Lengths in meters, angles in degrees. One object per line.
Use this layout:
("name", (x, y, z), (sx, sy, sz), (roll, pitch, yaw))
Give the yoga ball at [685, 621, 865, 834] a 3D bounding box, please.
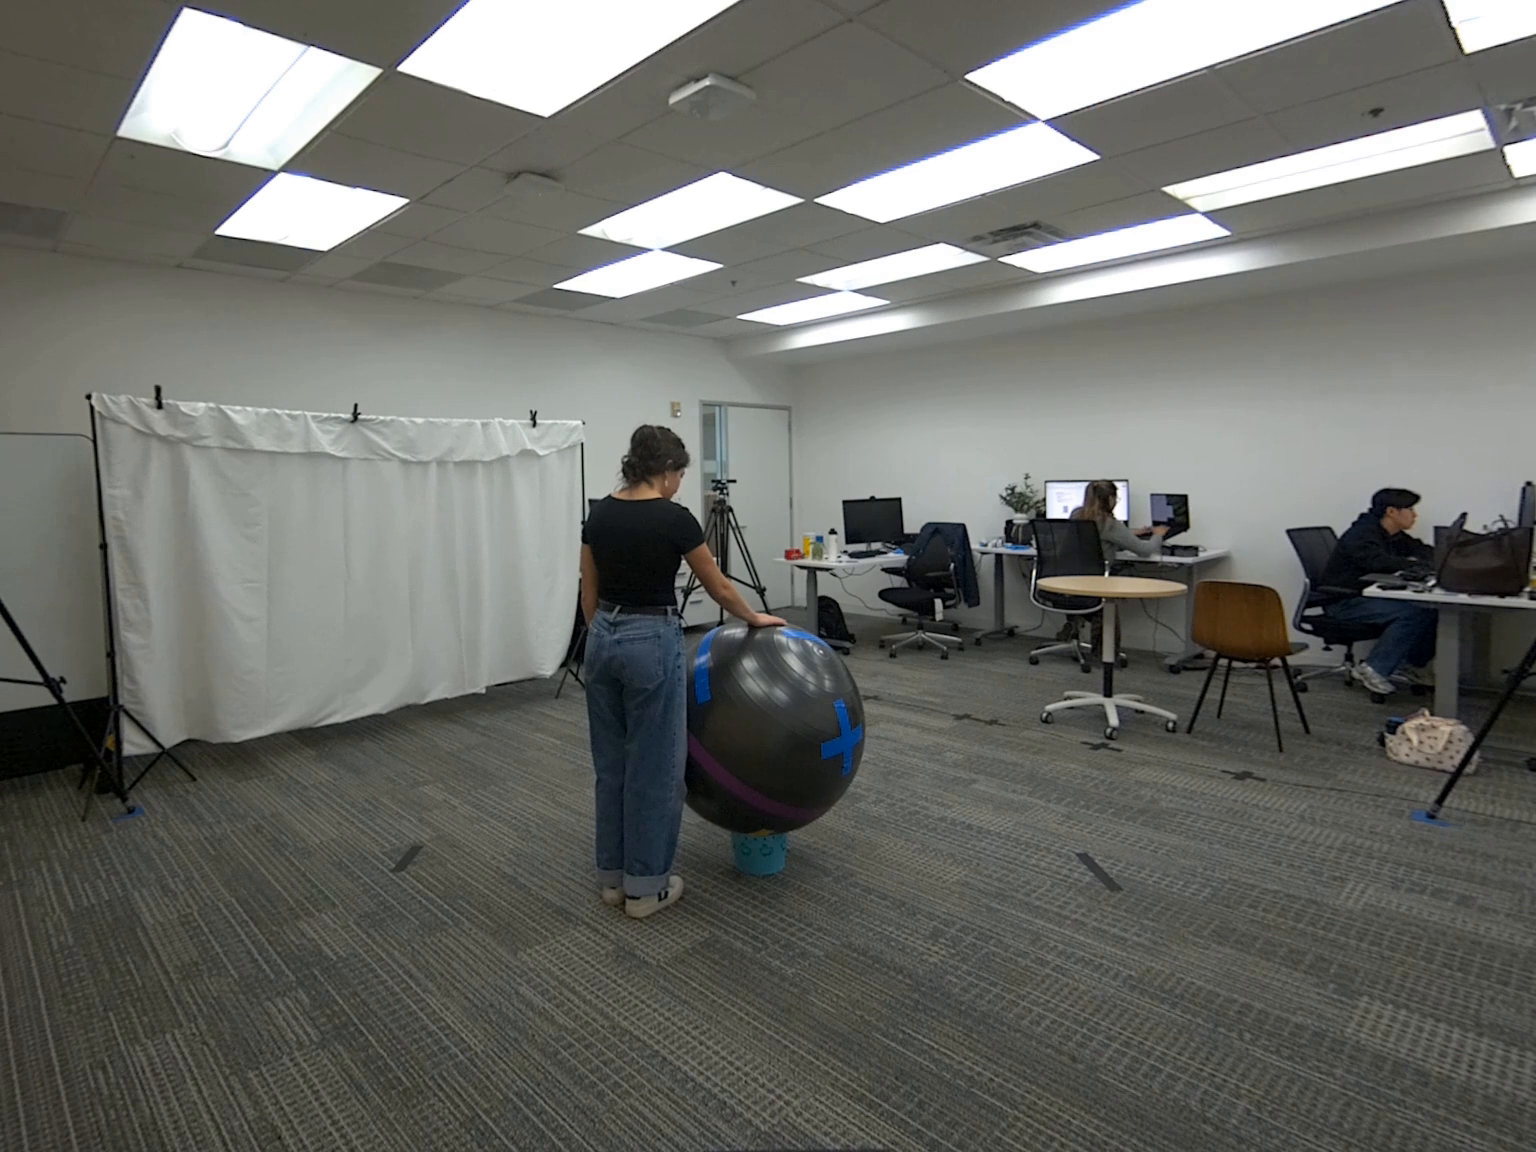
("yoga ball", (-0.027, 0.539, 3.087), (0.757, 0.755, 0.762), (-1, 5, -2))
